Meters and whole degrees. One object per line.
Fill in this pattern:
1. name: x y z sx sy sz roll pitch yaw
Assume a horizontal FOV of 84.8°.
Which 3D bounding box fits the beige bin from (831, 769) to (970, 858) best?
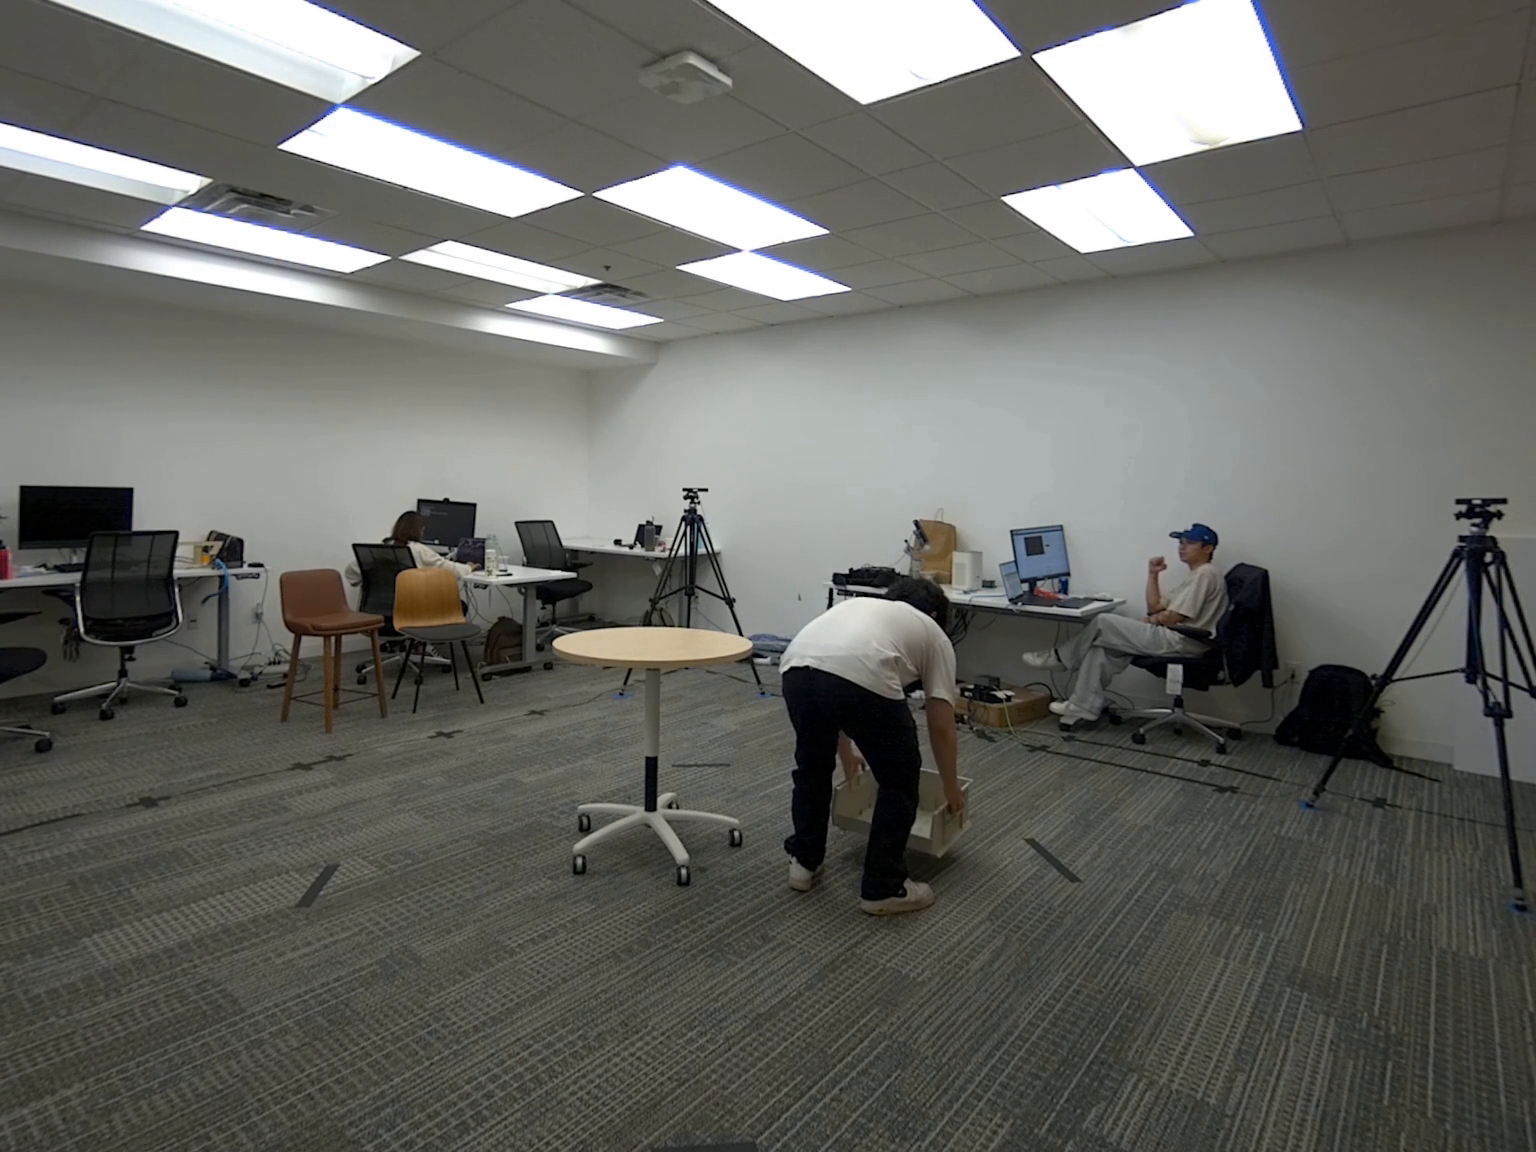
1. beige bin: 0.509 0.881 3.262 0.436 0.188 0.368 4 9 36
